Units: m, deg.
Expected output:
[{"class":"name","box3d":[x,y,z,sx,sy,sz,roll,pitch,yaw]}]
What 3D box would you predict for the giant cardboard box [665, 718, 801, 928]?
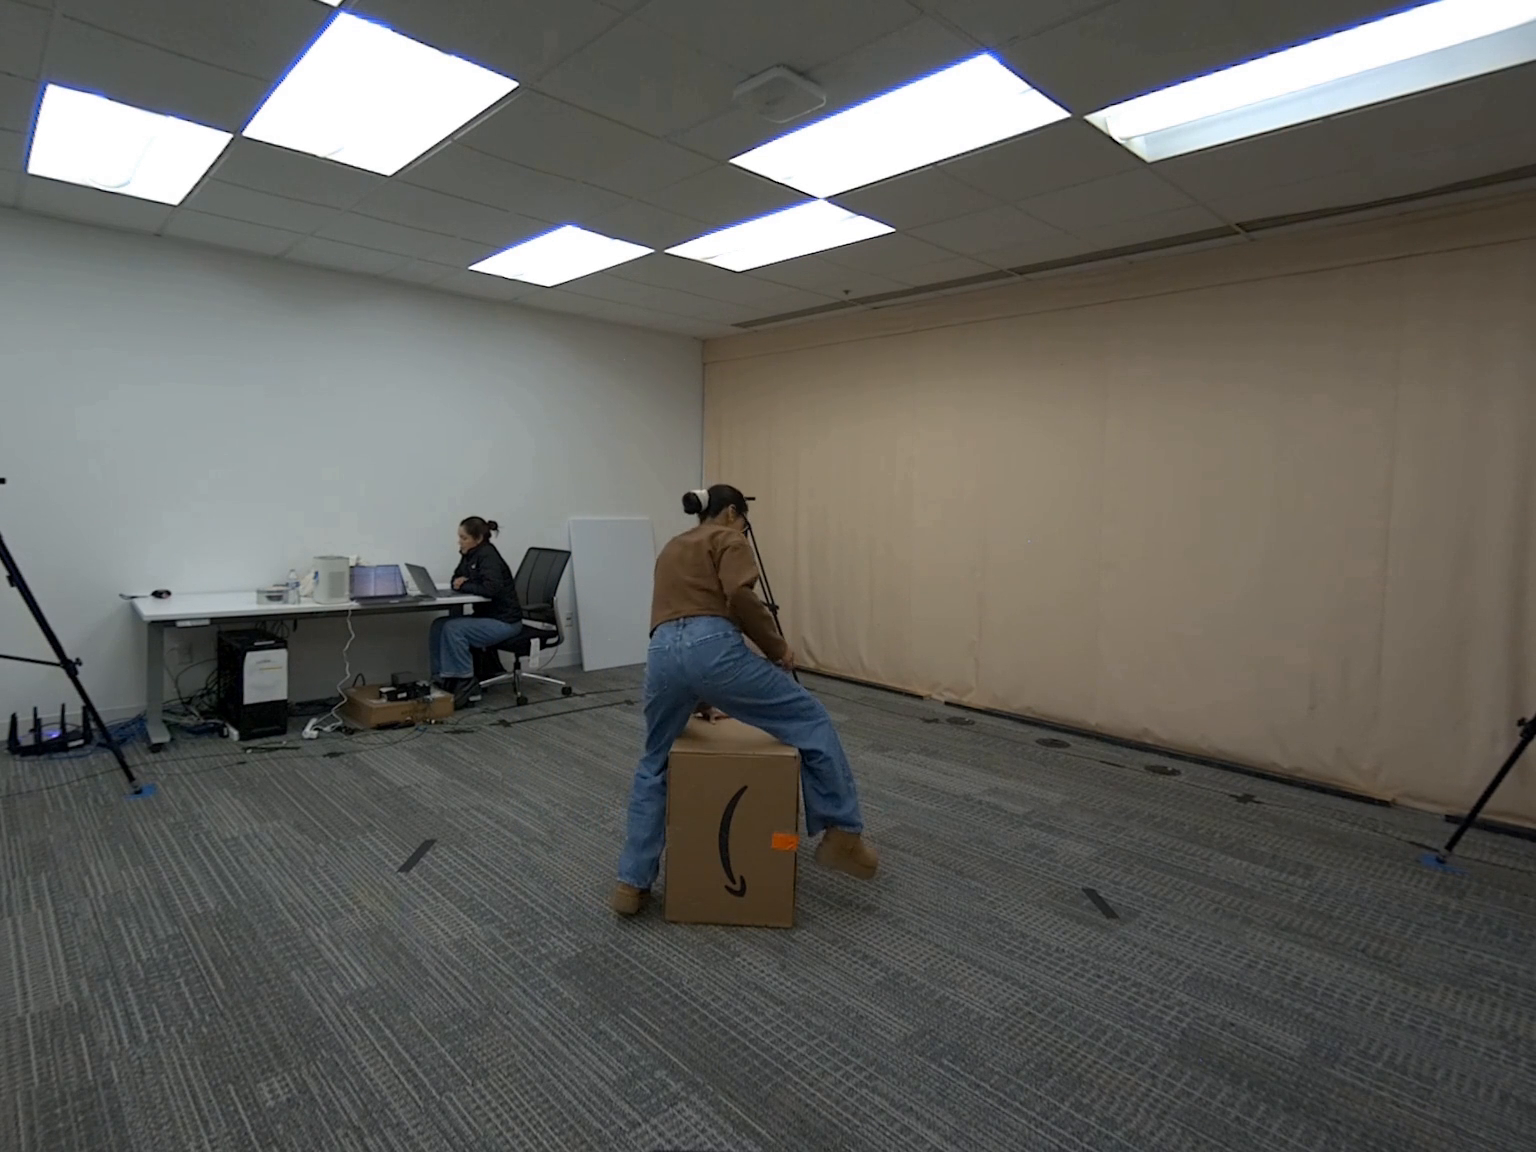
[{"class":"giant cardboard box","box3d":[-0.112,0.811,3.237,0.448,0.582,1.028,1,5,1]}]
